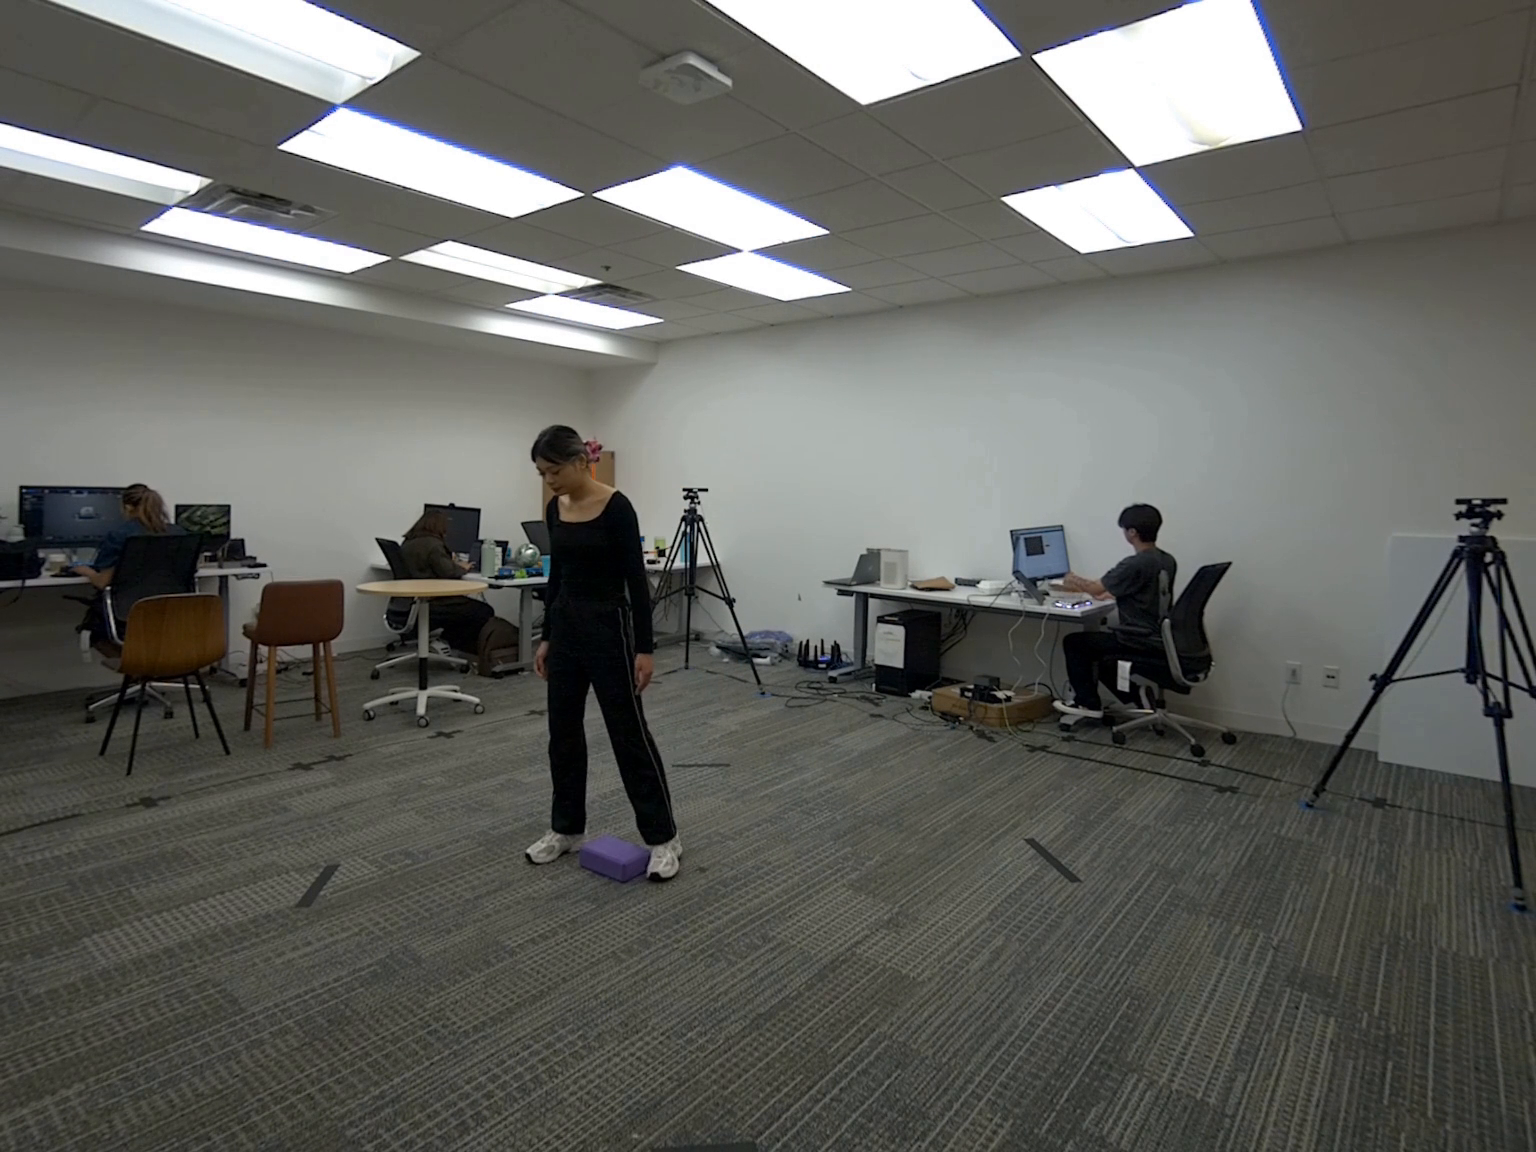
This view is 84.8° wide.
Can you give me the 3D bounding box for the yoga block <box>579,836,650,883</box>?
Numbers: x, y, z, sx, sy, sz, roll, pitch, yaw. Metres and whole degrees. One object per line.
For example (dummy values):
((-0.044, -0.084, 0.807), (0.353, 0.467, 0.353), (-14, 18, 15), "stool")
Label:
((-0.572, 1.021, 3.105), (0.237, 0.076, 0.145), (5, 6, 35), "yoga block")
